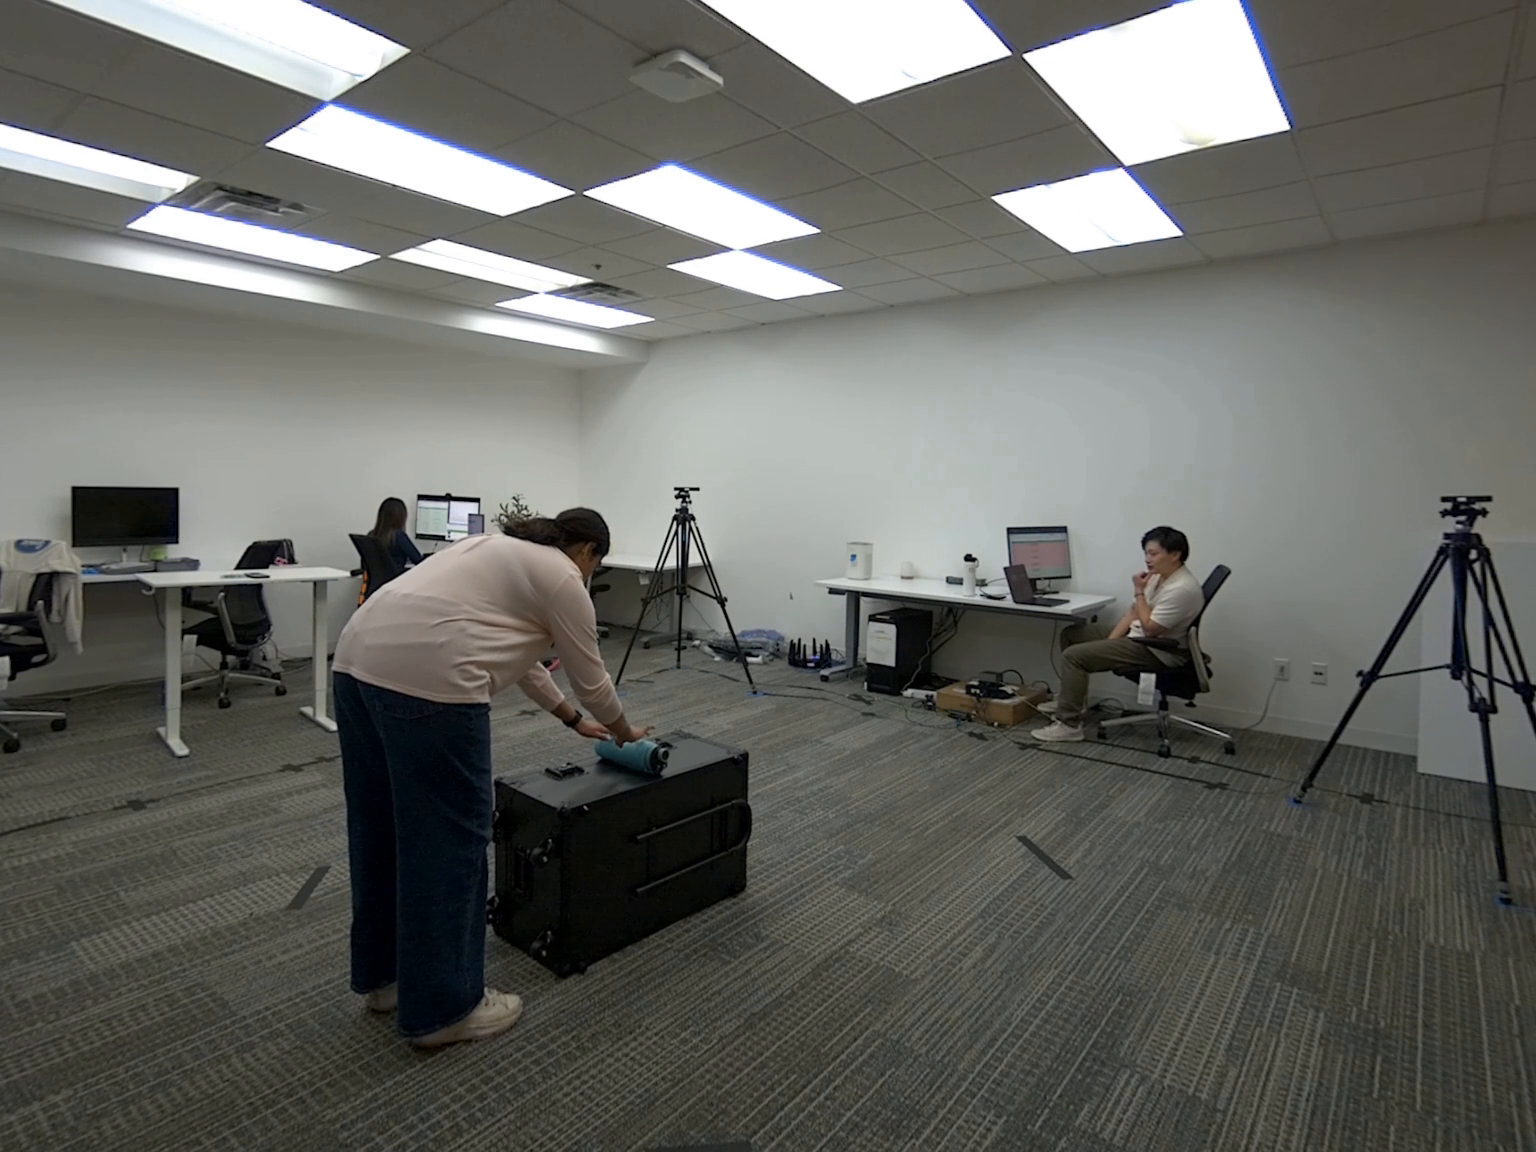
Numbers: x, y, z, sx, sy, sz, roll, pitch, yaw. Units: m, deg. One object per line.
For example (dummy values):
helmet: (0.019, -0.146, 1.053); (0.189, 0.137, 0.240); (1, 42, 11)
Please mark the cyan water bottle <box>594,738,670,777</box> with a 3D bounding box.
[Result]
cyan water bottle: (-0.446, 0.563, 2.758); (0.293, 0.092, 0.089); (5, 6, 38)
